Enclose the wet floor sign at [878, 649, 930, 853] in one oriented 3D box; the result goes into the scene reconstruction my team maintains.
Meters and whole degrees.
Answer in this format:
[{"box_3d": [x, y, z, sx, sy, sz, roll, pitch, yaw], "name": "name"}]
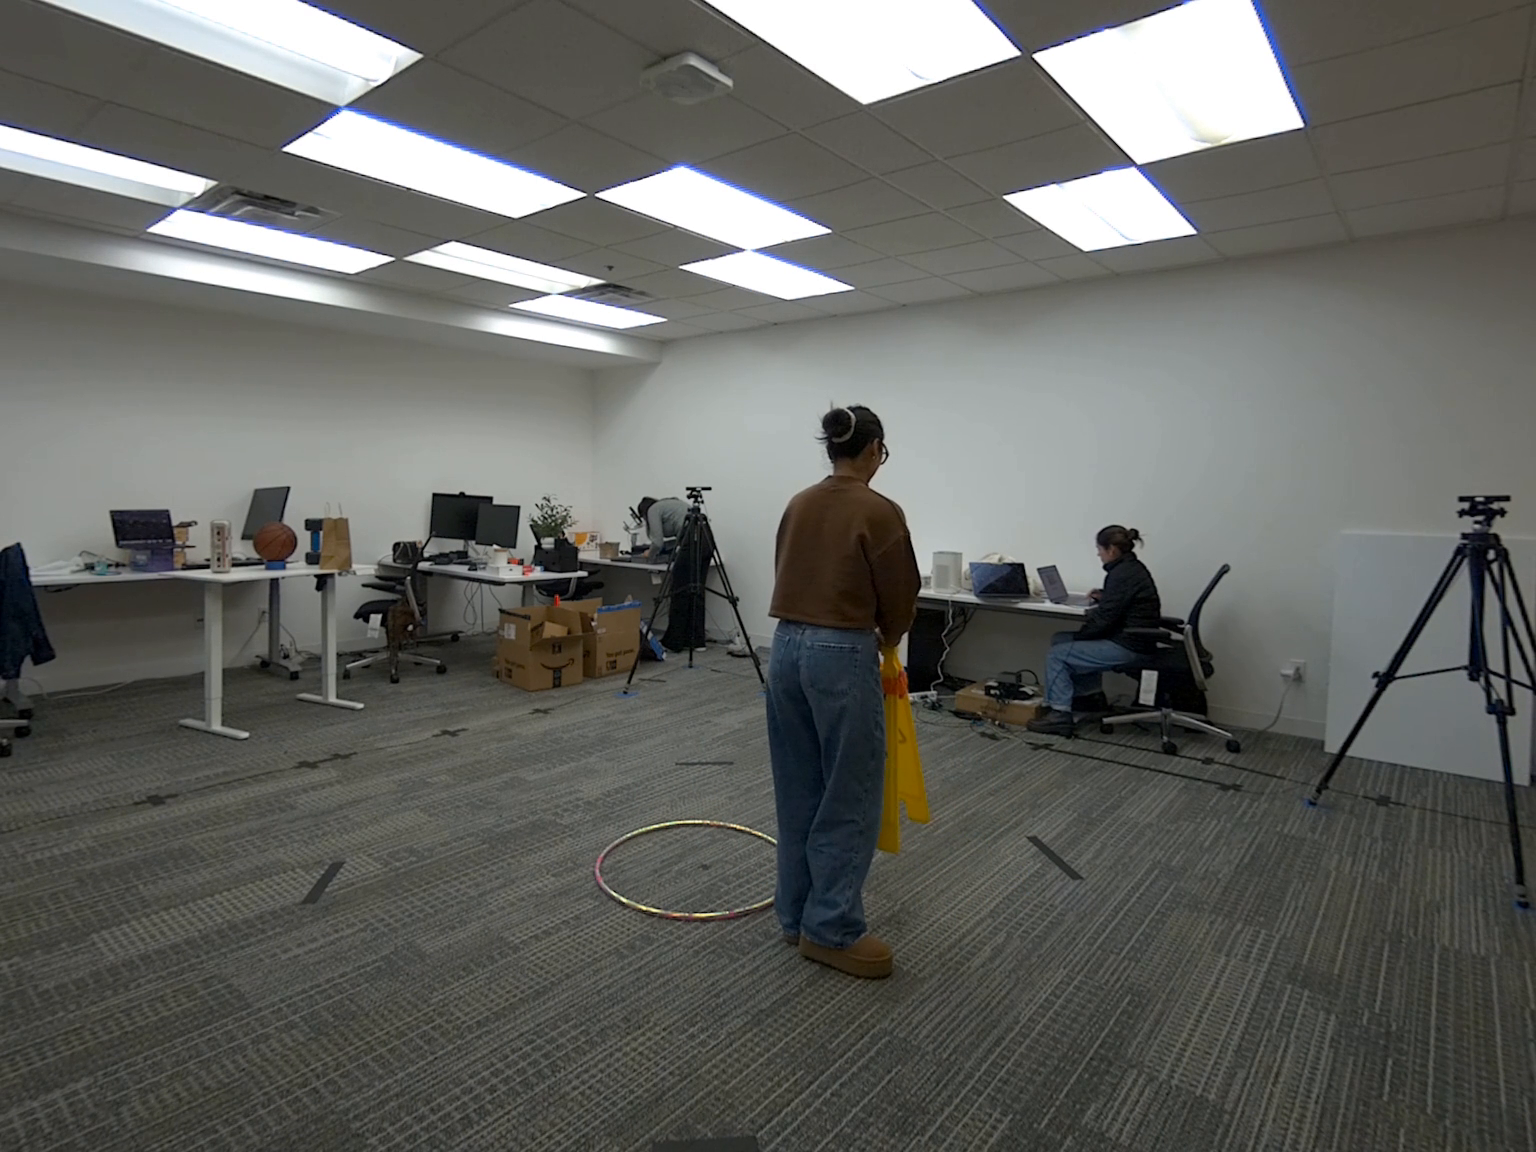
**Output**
[{"box_3d": [0.339, 0.522, 2.814, 0.291, 0.644, 0.282, 1, 4, 34], "name": "wet floor sign"}]
